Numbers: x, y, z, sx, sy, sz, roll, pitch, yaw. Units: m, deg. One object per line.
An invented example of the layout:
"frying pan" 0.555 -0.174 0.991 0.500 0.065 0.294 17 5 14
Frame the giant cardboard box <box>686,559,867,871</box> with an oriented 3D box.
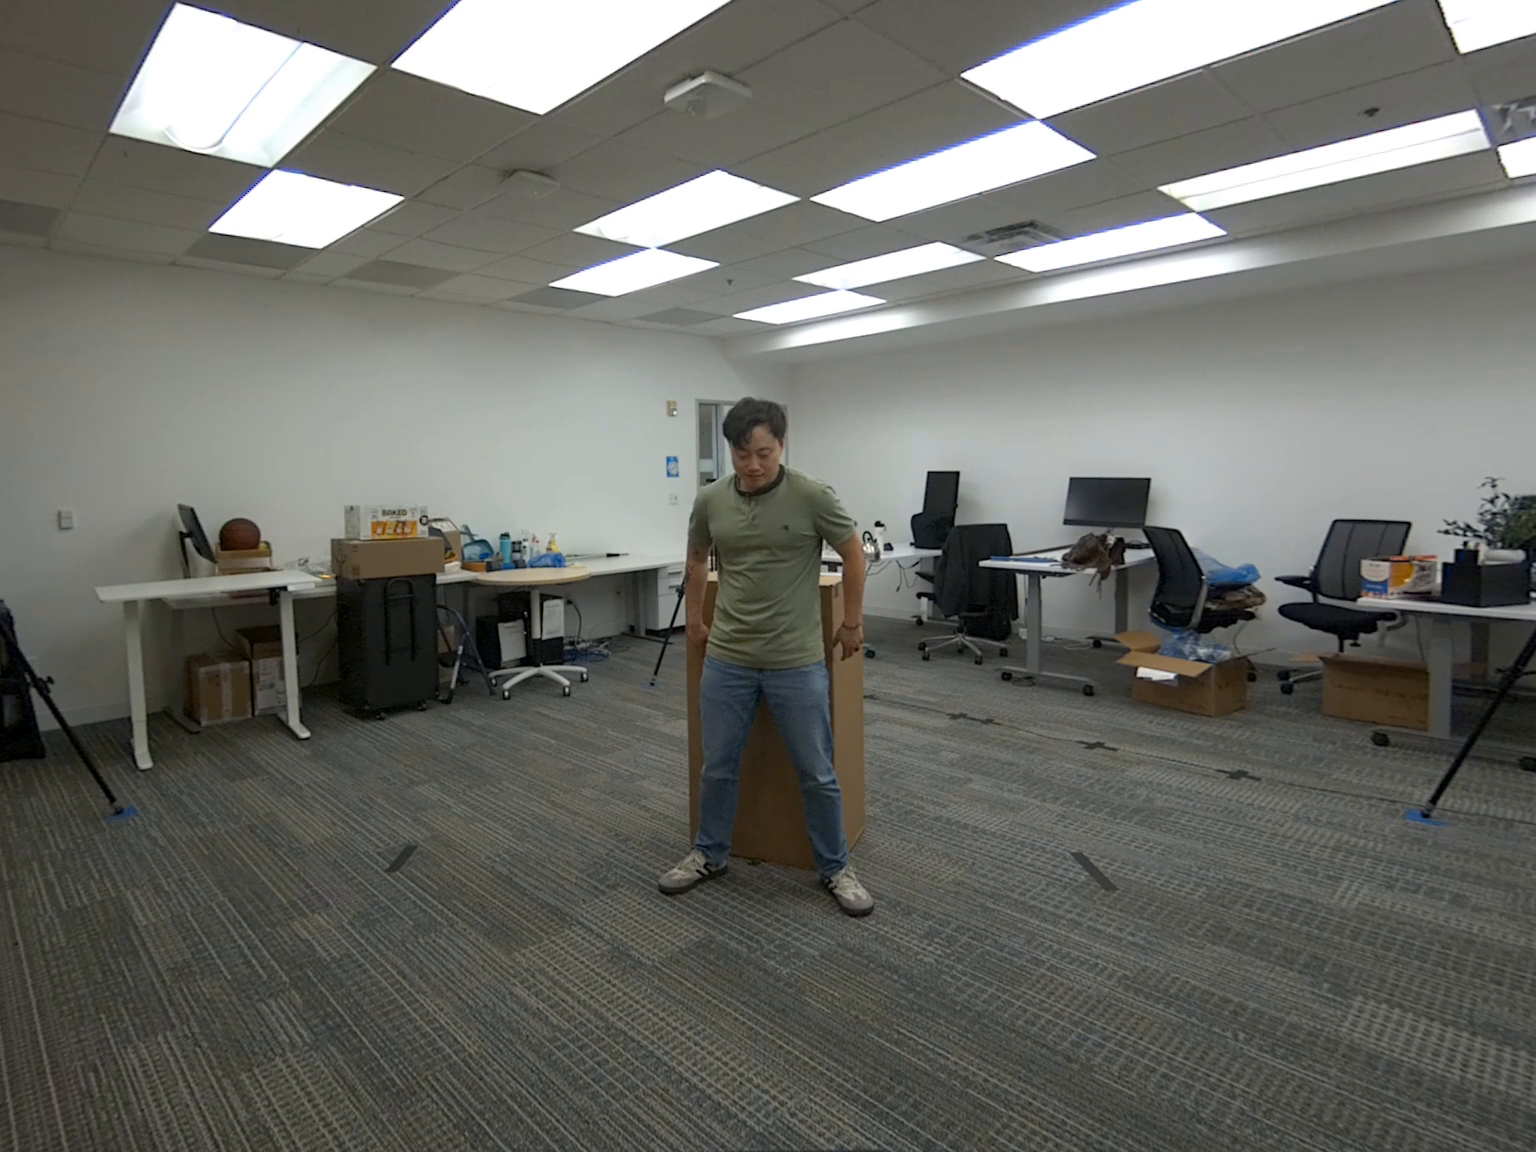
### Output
"giant cardboard box" 0.038 0.509 3.298 0.590 1.022 0.418 1 4 23
